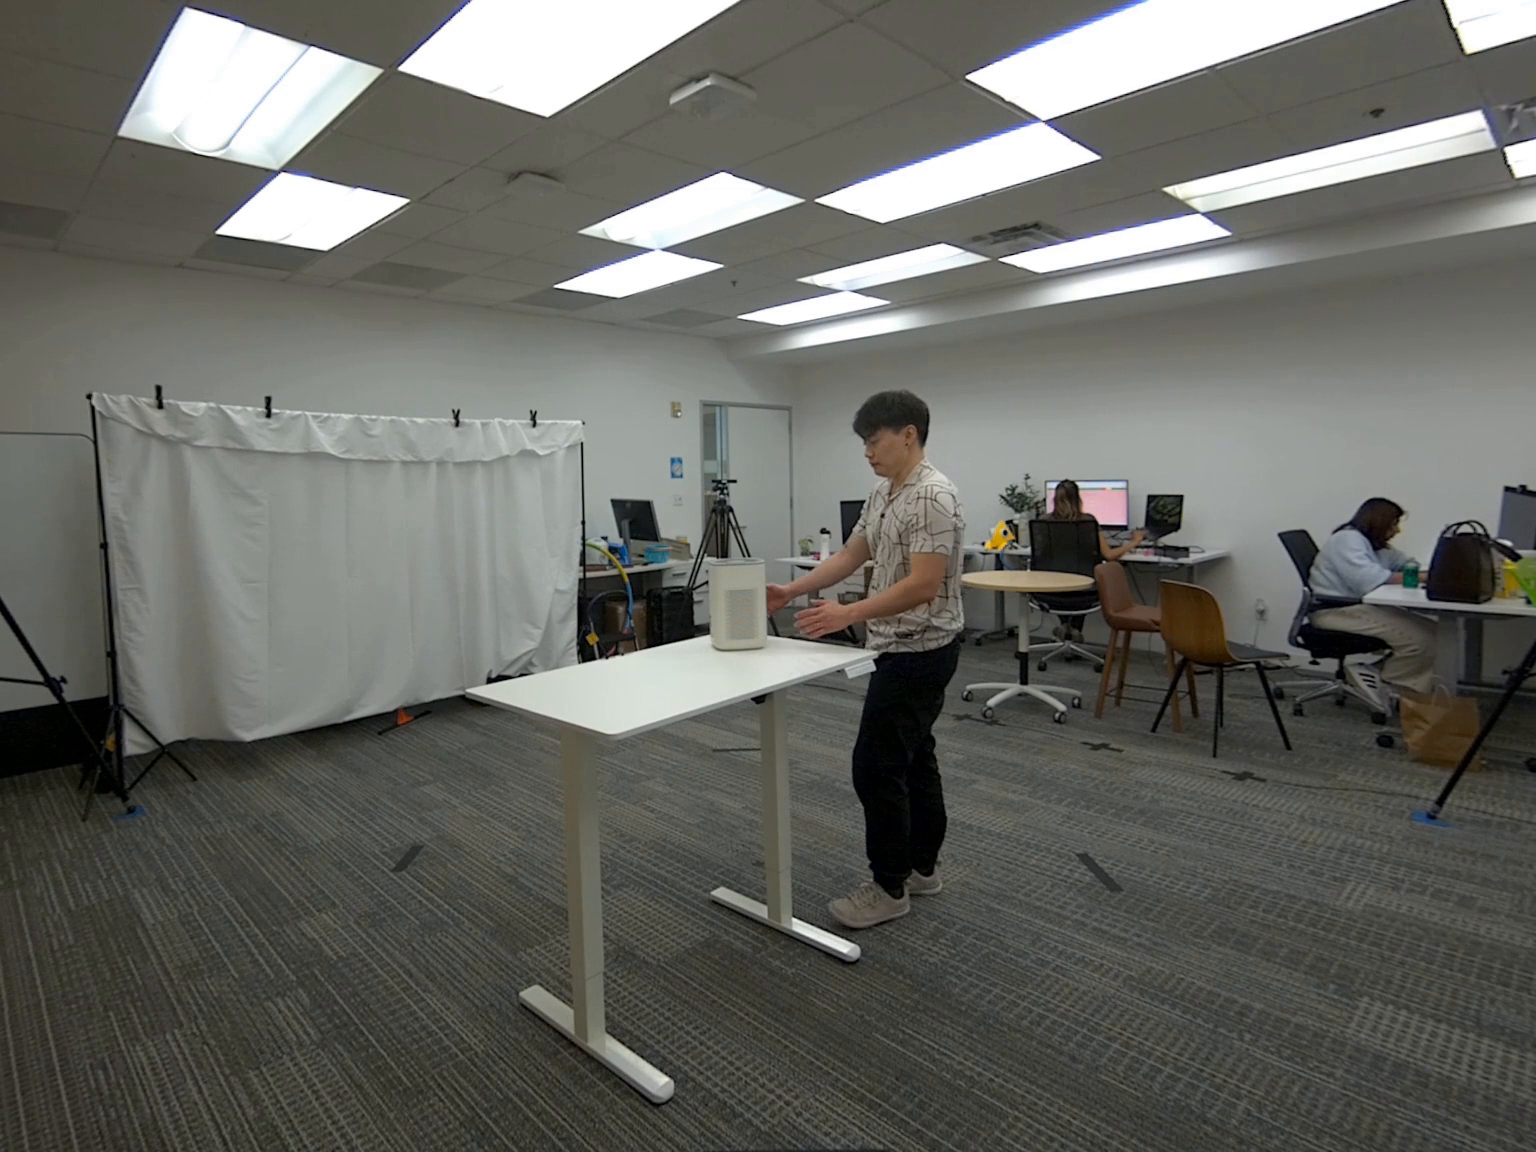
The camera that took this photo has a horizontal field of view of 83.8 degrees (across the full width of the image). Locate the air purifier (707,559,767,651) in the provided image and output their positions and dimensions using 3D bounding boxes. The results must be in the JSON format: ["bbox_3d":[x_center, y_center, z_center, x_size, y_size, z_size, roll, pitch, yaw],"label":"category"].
[{"bbox_3d":[-0.090,0.085,2.630,0.171,0.264,0.172,-2,5,-5],"label":"air purifier"}]
